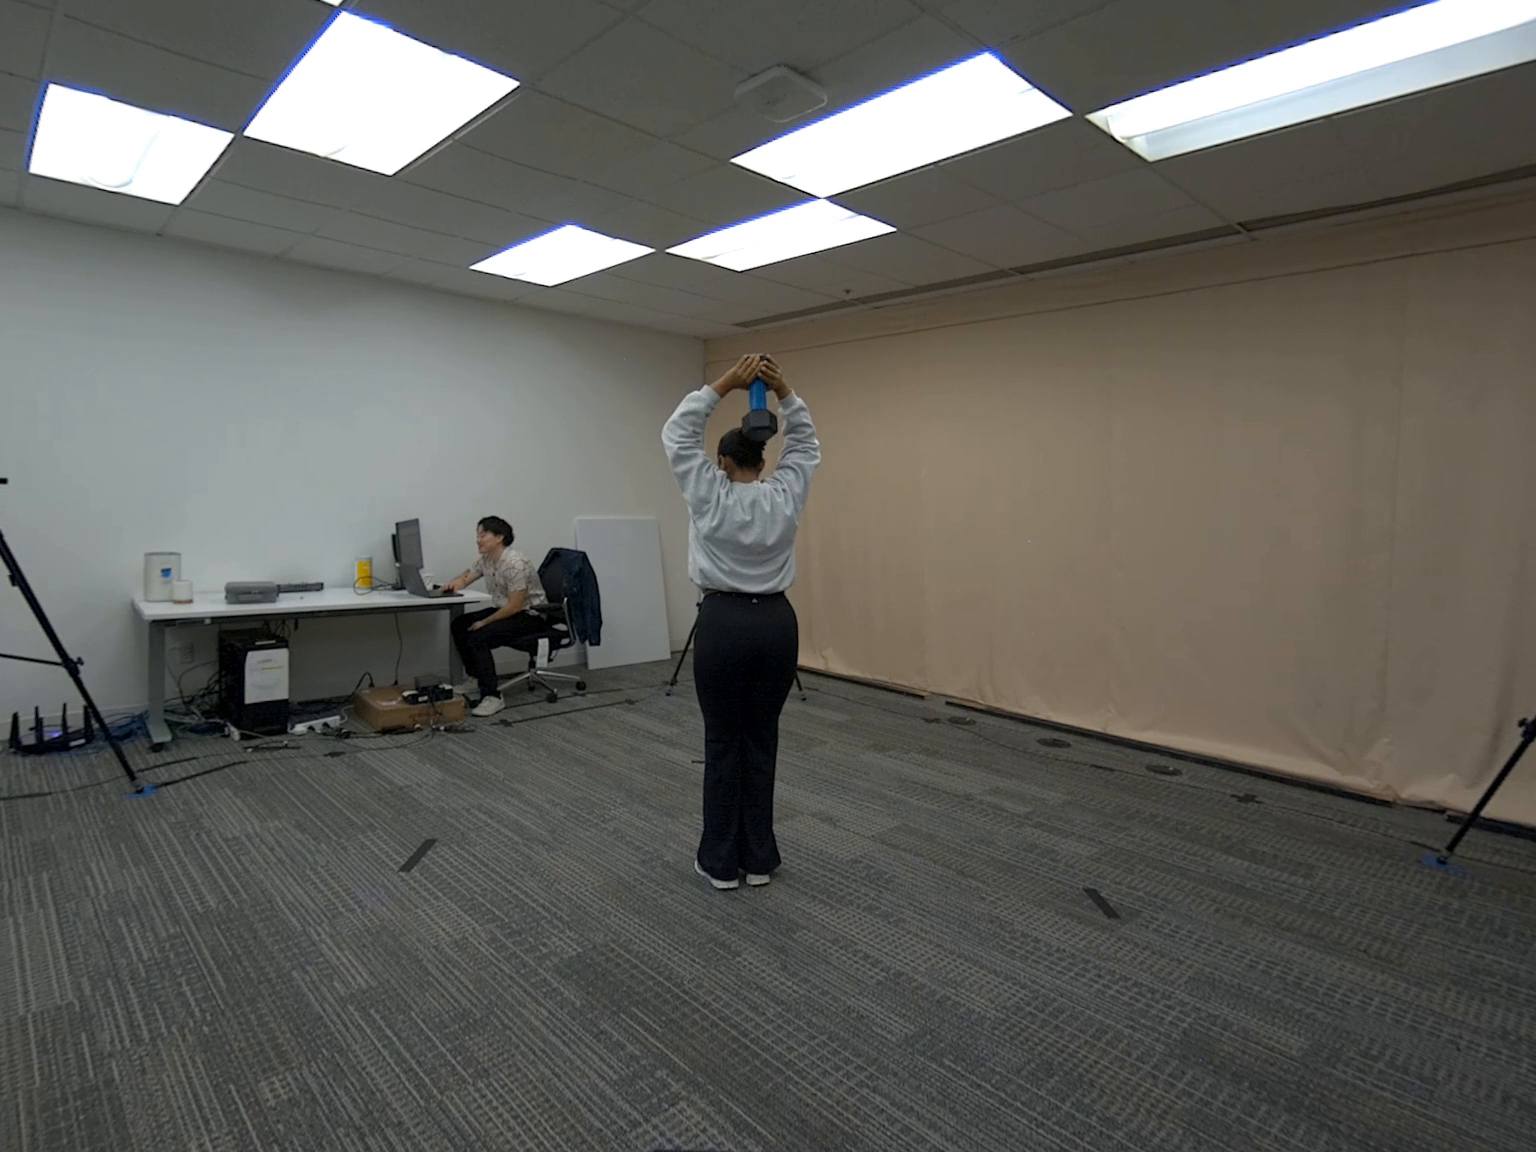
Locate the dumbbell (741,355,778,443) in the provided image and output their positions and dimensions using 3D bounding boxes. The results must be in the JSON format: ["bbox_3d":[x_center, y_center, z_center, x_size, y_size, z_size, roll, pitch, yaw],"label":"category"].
[{"bbox_3d":[-0.044,-0.620,2.934,0.110,0.297,0.119,-12,-19,27],"label":"dumbbell"}]
